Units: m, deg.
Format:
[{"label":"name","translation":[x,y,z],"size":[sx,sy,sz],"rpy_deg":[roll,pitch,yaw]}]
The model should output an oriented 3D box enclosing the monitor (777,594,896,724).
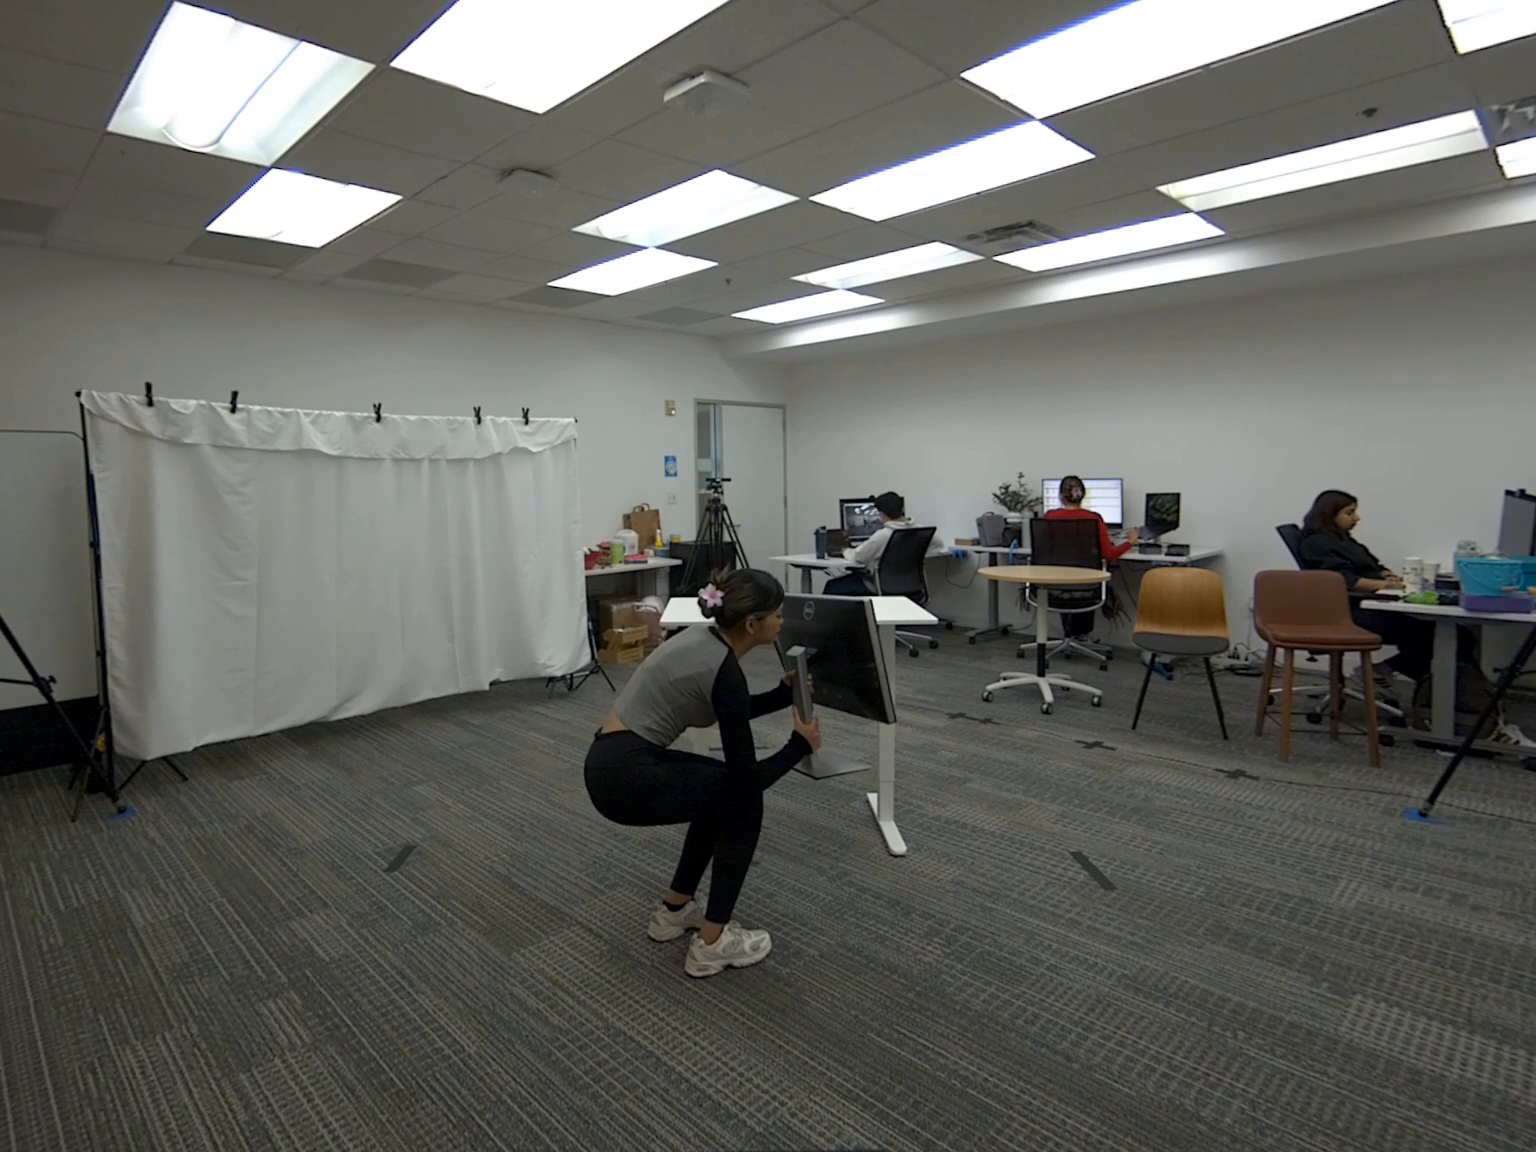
[{"label":"monitor","translation":[0.164,0.323,2.606],"size":[0.182,0.523,0.552],"rpy_deg":[-1,0,-30]}]
